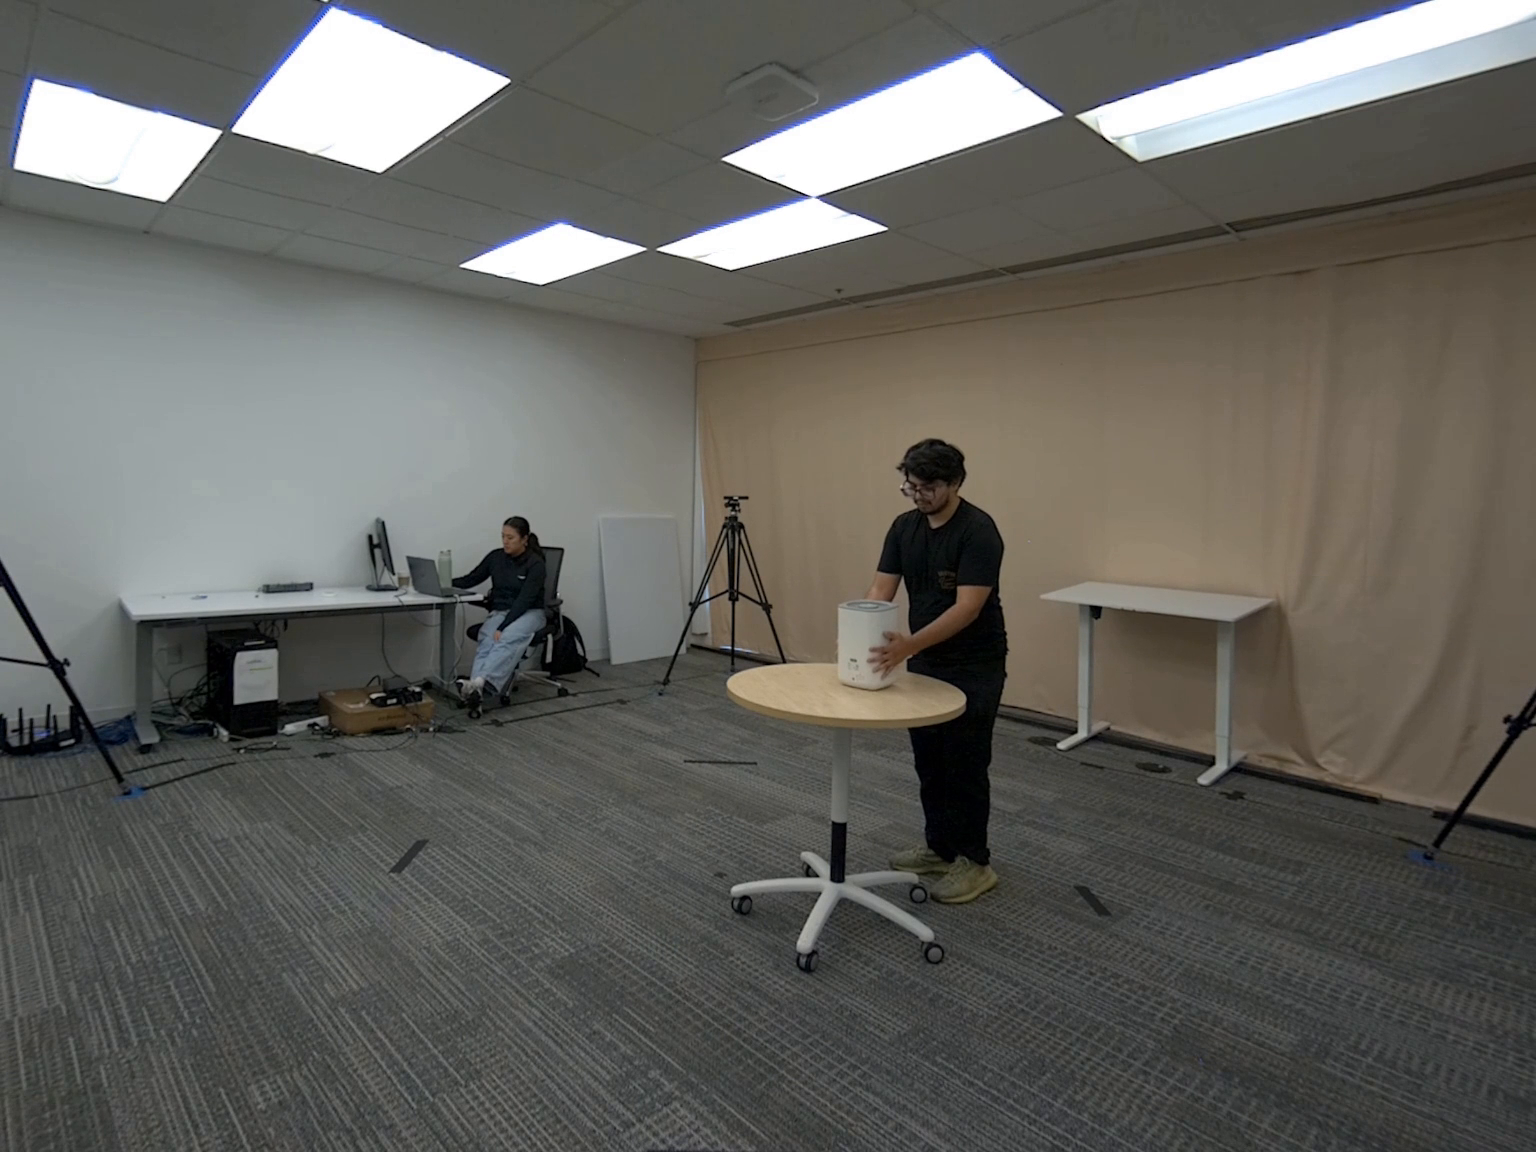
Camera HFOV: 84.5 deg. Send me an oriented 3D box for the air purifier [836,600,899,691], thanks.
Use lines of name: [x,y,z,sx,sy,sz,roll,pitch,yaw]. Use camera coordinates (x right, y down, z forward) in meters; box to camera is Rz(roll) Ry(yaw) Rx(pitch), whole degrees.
air purifier: [0.324,0.220,2.772,0.172,0.261,0.170,7,10,40]
